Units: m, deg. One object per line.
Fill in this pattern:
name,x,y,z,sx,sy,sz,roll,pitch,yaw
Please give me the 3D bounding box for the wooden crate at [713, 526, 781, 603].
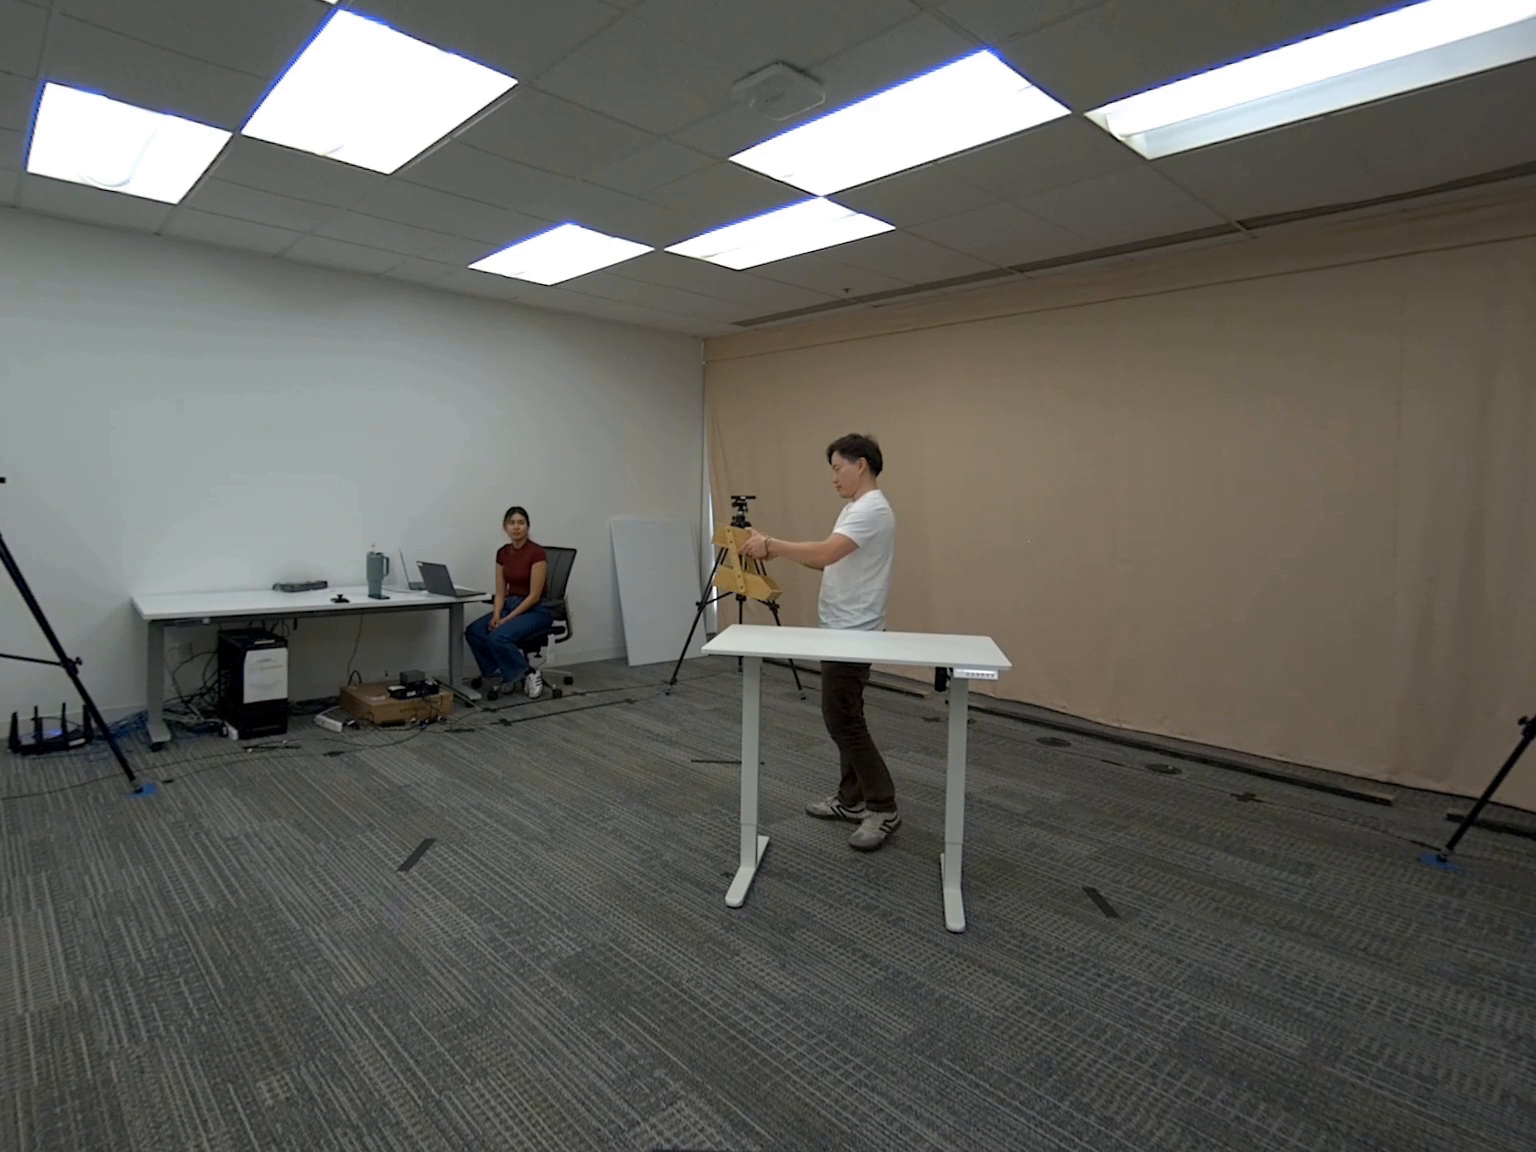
wooden crate,-0.072,-0.058,3.599,0.305,0.273,0.321,16,2,10
